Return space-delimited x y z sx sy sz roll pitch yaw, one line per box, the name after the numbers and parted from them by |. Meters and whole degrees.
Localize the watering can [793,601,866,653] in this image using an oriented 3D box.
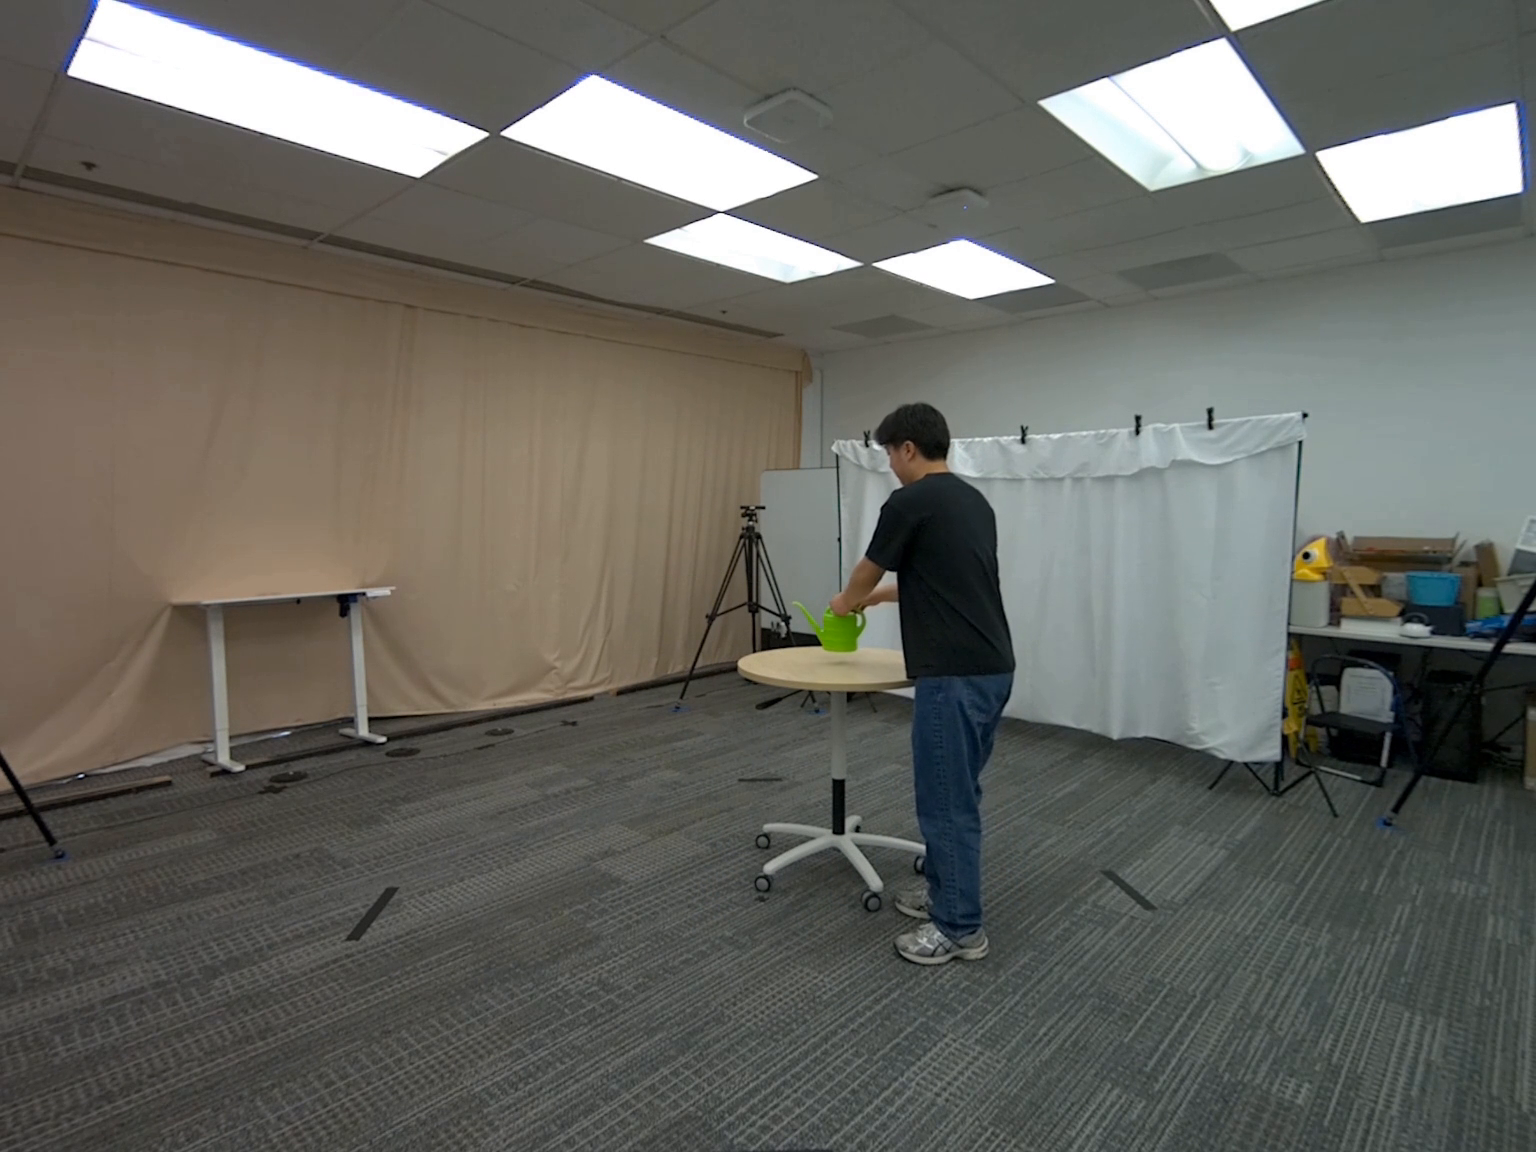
0.237 0.190 3.180 0.286 0.176 0.096 5 8 27 | watering can
